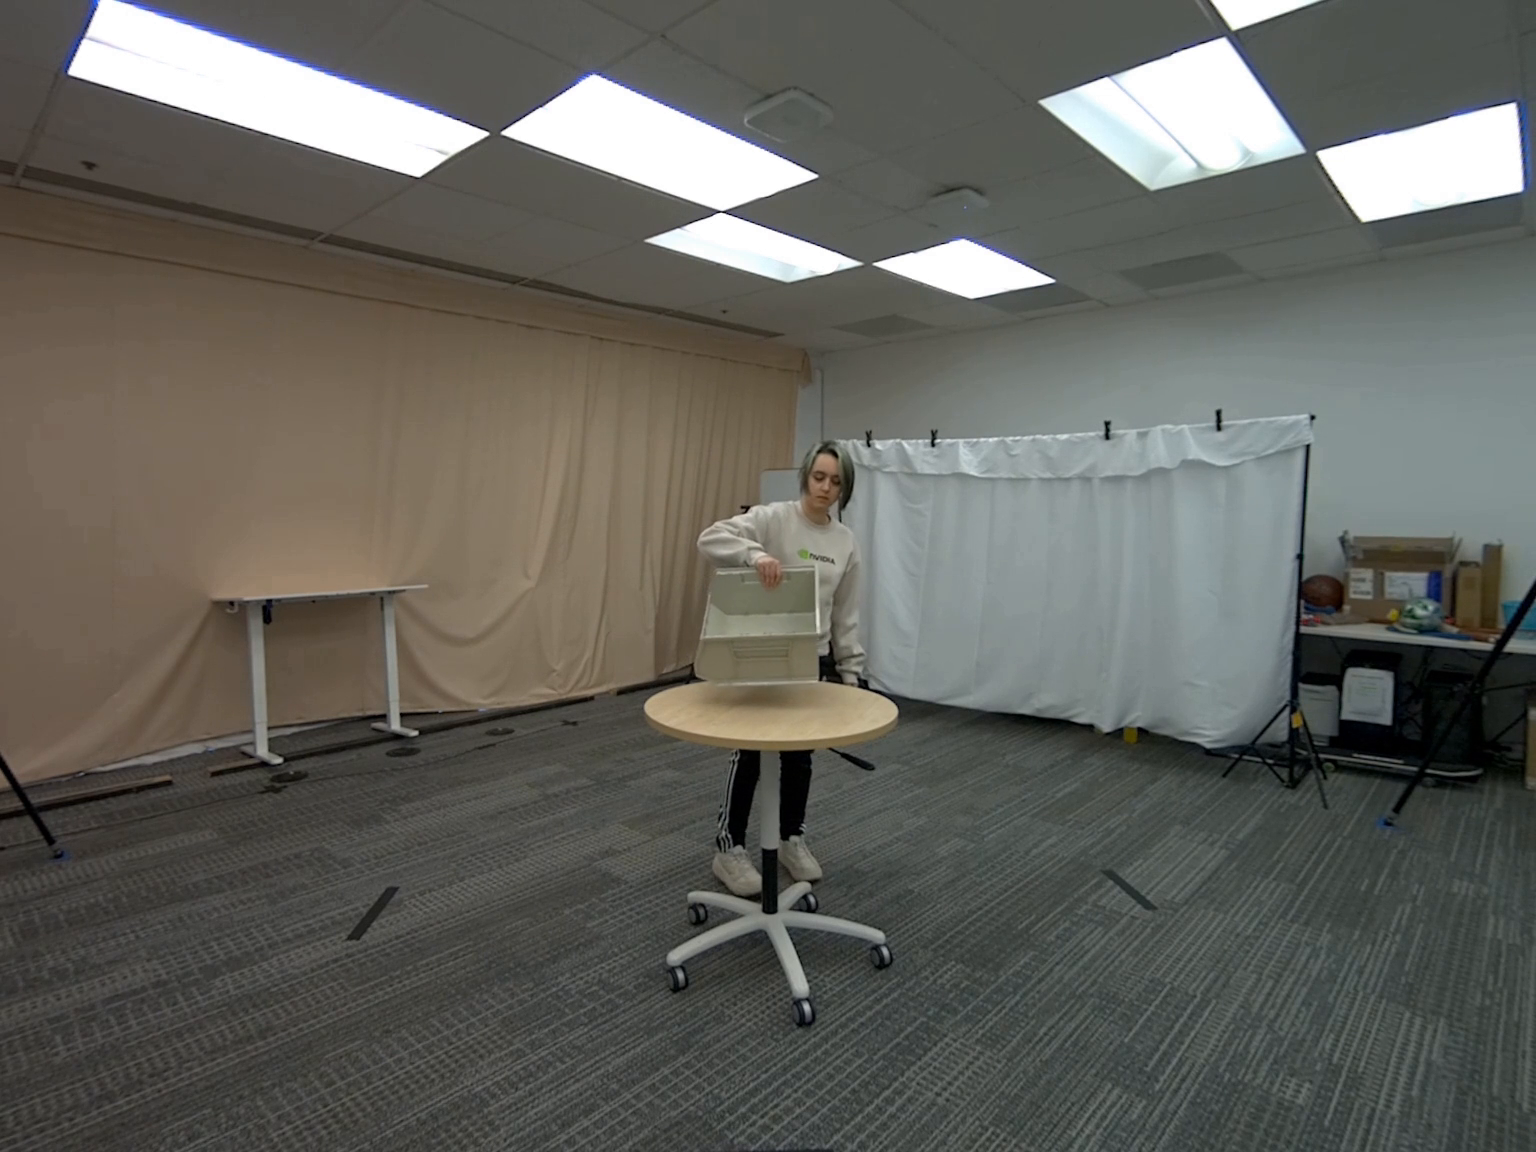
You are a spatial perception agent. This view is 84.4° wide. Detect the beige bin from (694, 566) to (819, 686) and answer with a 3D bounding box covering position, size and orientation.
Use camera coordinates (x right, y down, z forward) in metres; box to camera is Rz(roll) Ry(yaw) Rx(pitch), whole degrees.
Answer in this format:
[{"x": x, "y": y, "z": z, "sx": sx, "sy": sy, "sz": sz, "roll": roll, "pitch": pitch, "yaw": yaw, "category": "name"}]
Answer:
[{"x": -0.019, "y": 0.144, "z": 2.632, "sx": 0.377, "sy": 0.186, "sz": 0.429, "roll": 2, "pitch": 26, "yaw": -2, "category": "beige bin"}]
